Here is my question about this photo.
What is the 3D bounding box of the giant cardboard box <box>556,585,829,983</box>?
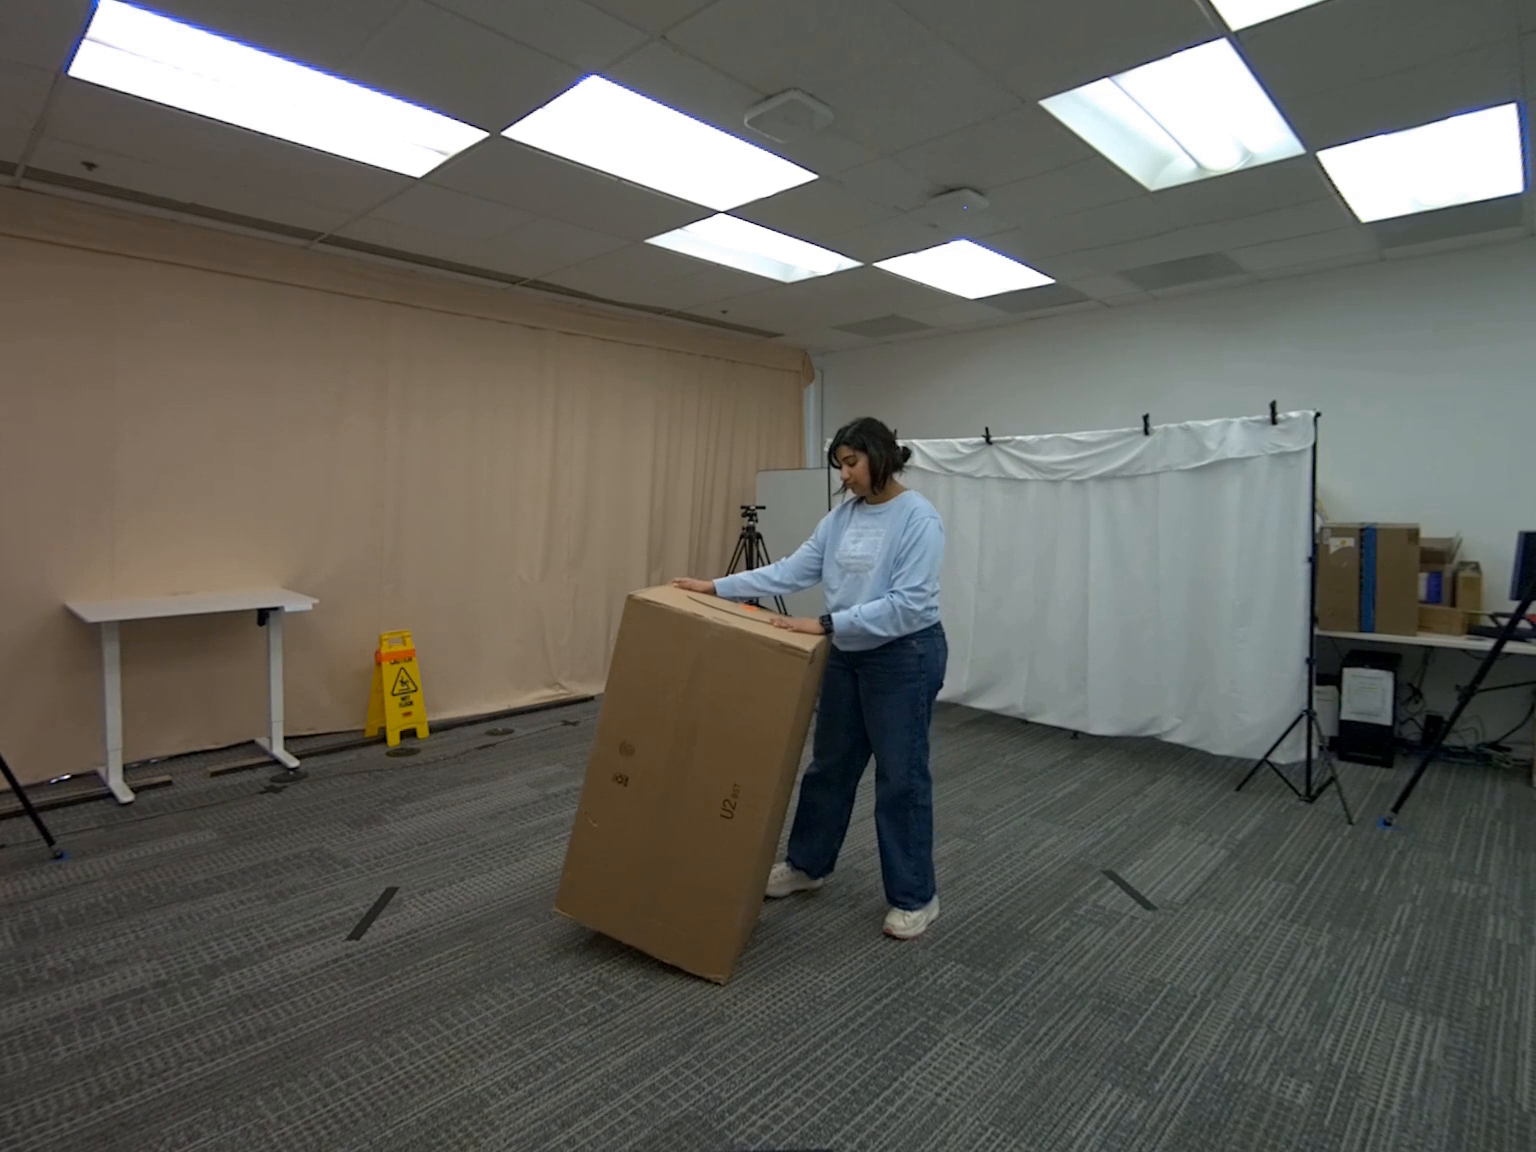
[{"bbox_3d":[-0.226,0.612,2.663,0.594,1.024,0.440,16,7,14],"label":"giant cardboard box"}]
